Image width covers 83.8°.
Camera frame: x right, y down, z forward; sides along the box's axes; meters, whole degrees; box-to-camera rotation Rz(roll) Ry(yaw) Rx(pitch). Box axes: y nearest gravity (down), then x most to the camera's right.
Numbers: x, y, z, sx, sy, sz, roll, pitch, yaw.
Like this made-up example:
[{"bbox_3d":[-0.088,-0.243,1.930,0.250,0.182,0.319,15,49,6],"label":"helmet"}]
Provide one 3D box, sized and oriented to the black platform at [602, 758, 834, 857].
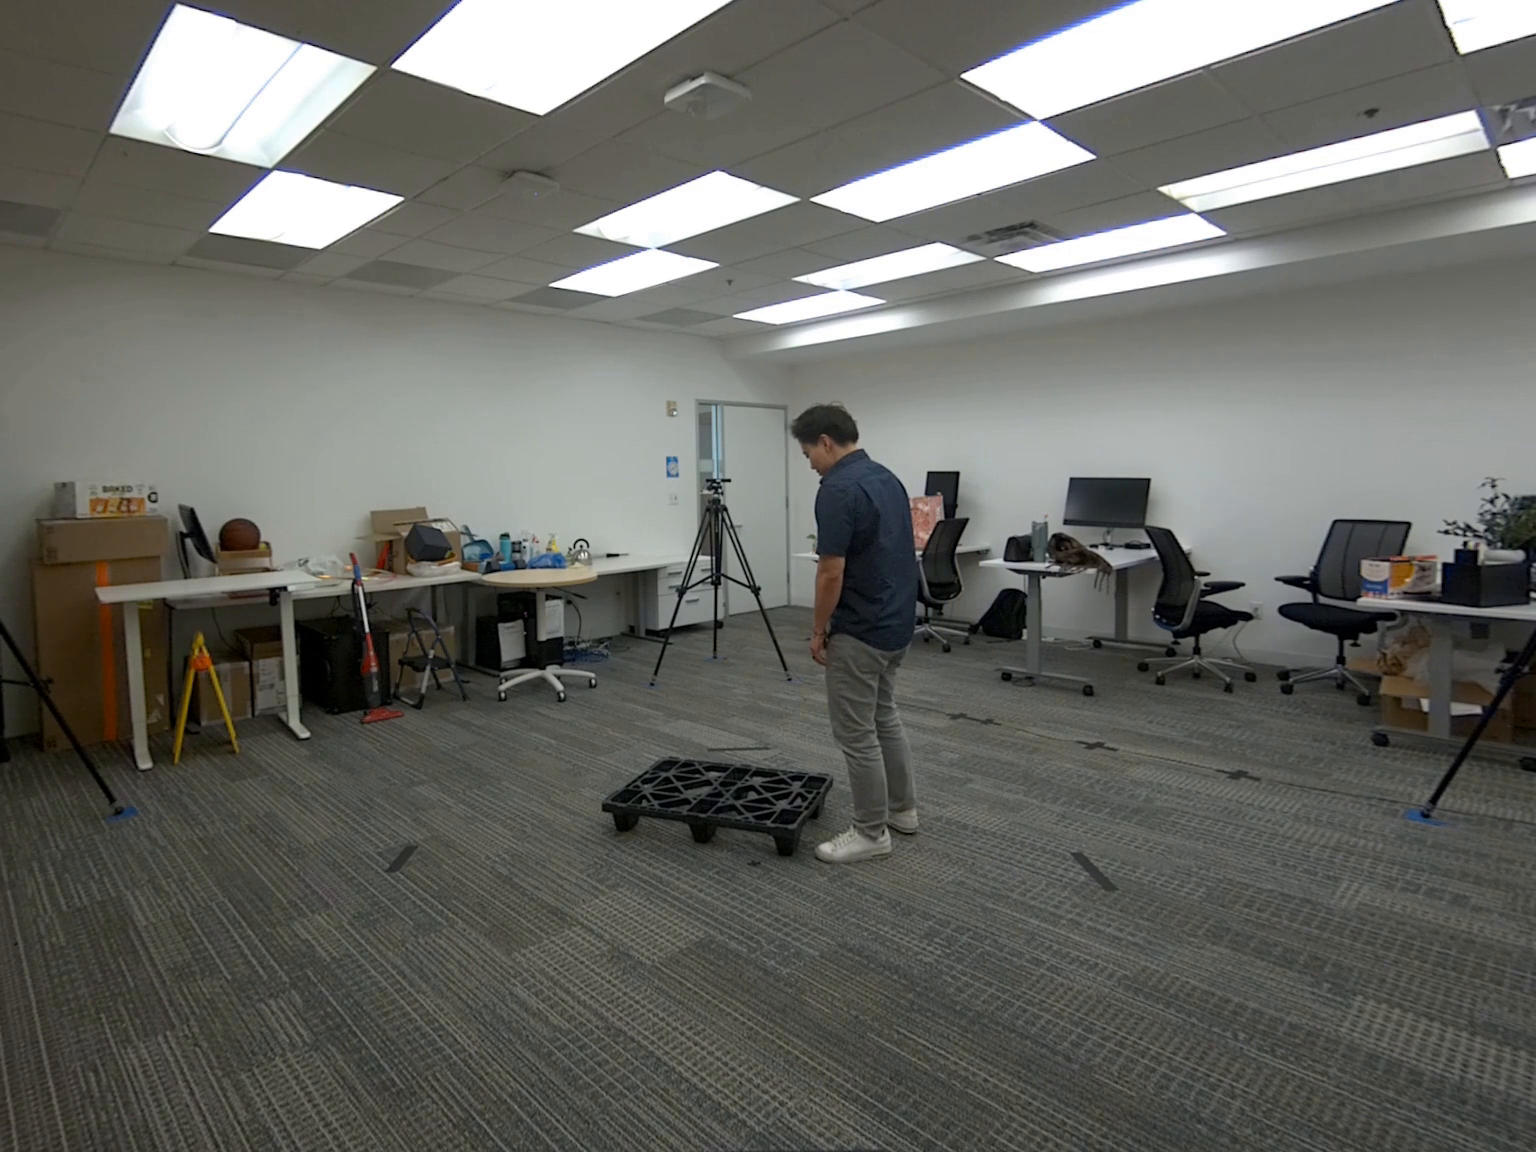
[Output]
[{"bbox_3d":[-0.192,0.935,3.503,0.821,0.143,0.596,2,6,20],"label":"black platform"}]
